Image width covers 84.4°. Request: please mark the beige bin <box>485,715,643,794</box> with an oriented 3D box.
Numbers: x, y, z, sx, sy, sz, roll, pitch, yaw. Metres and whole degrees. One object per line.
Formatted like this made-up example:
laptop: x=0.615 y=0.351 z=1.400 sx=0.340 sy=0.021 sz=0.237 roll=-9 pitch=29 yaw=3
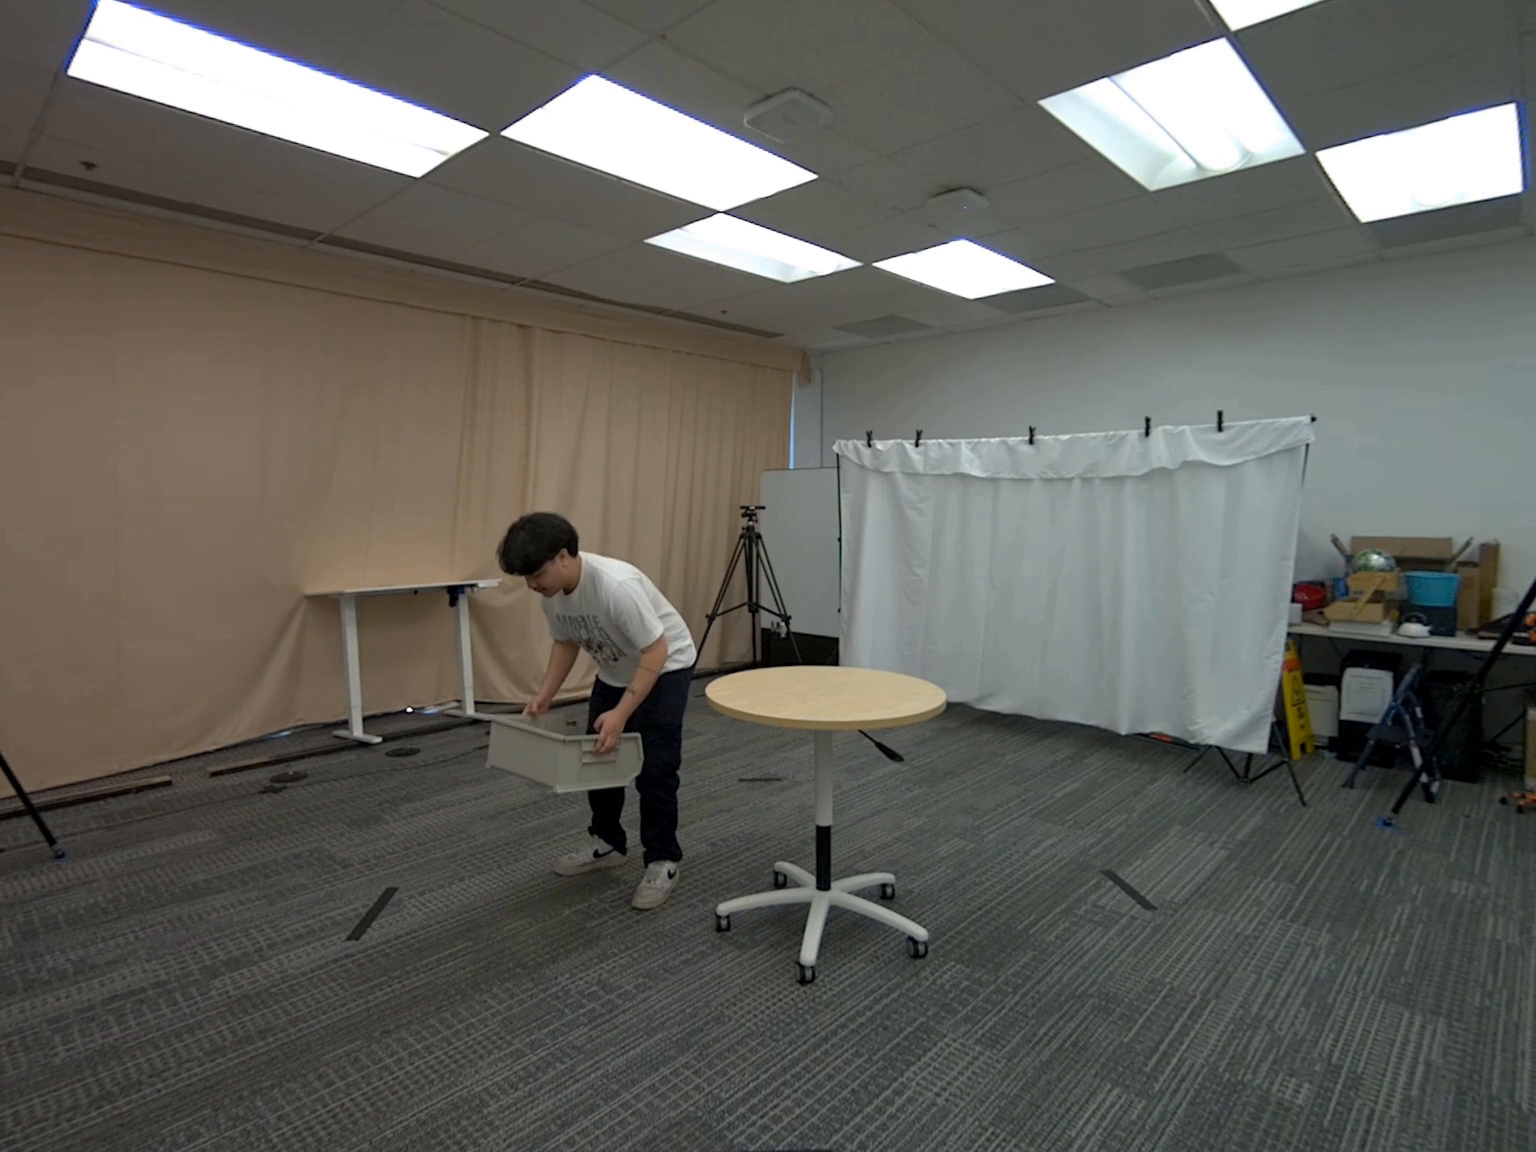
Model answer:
beige bin: x=-0.708 y=0.601 z=2.935 sx=0.436 sy=0.189 sz=0.364 roll=5 pitch=-2 yaw=39
